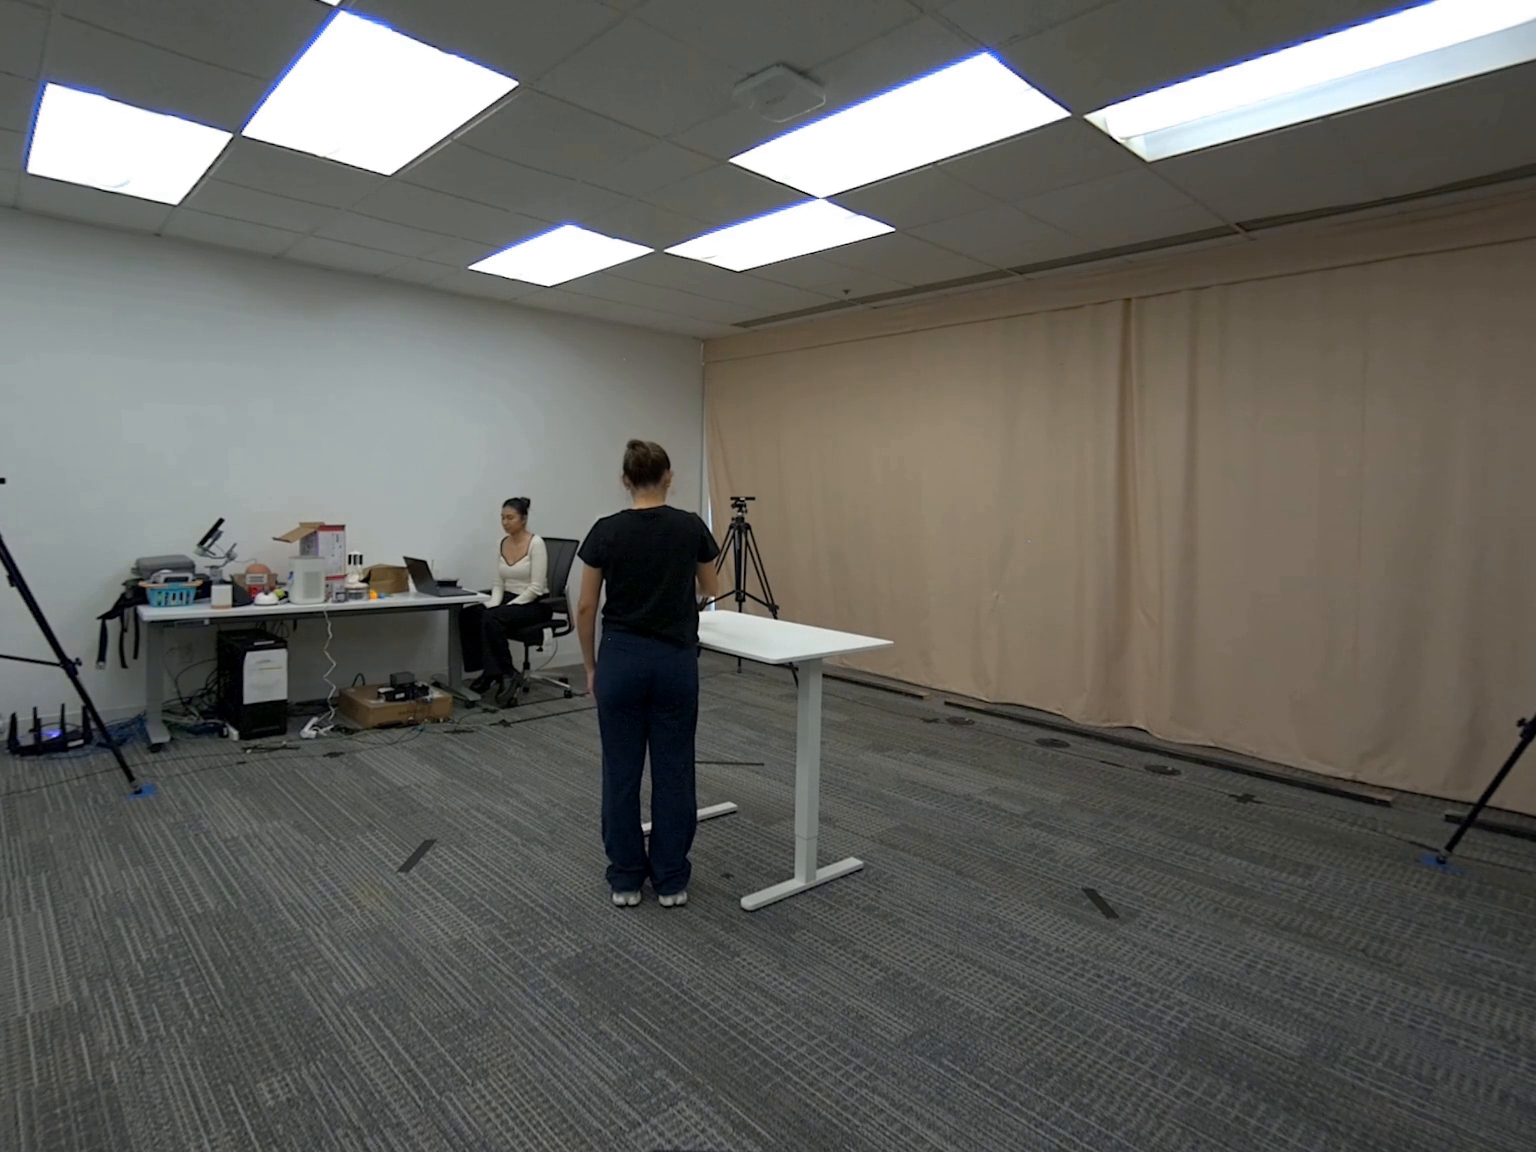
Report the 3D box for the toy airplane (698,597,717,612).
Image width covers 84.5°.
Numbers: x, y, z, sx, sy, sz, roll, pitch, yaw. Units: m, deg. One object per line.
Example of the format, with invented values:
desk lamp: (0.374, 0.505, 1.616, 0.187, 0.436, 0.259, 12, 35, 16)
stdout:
toy airplane: (-0.384, 0.125, 3.333, 0.266, 0.156, 0.245, 6, 6, 44)
